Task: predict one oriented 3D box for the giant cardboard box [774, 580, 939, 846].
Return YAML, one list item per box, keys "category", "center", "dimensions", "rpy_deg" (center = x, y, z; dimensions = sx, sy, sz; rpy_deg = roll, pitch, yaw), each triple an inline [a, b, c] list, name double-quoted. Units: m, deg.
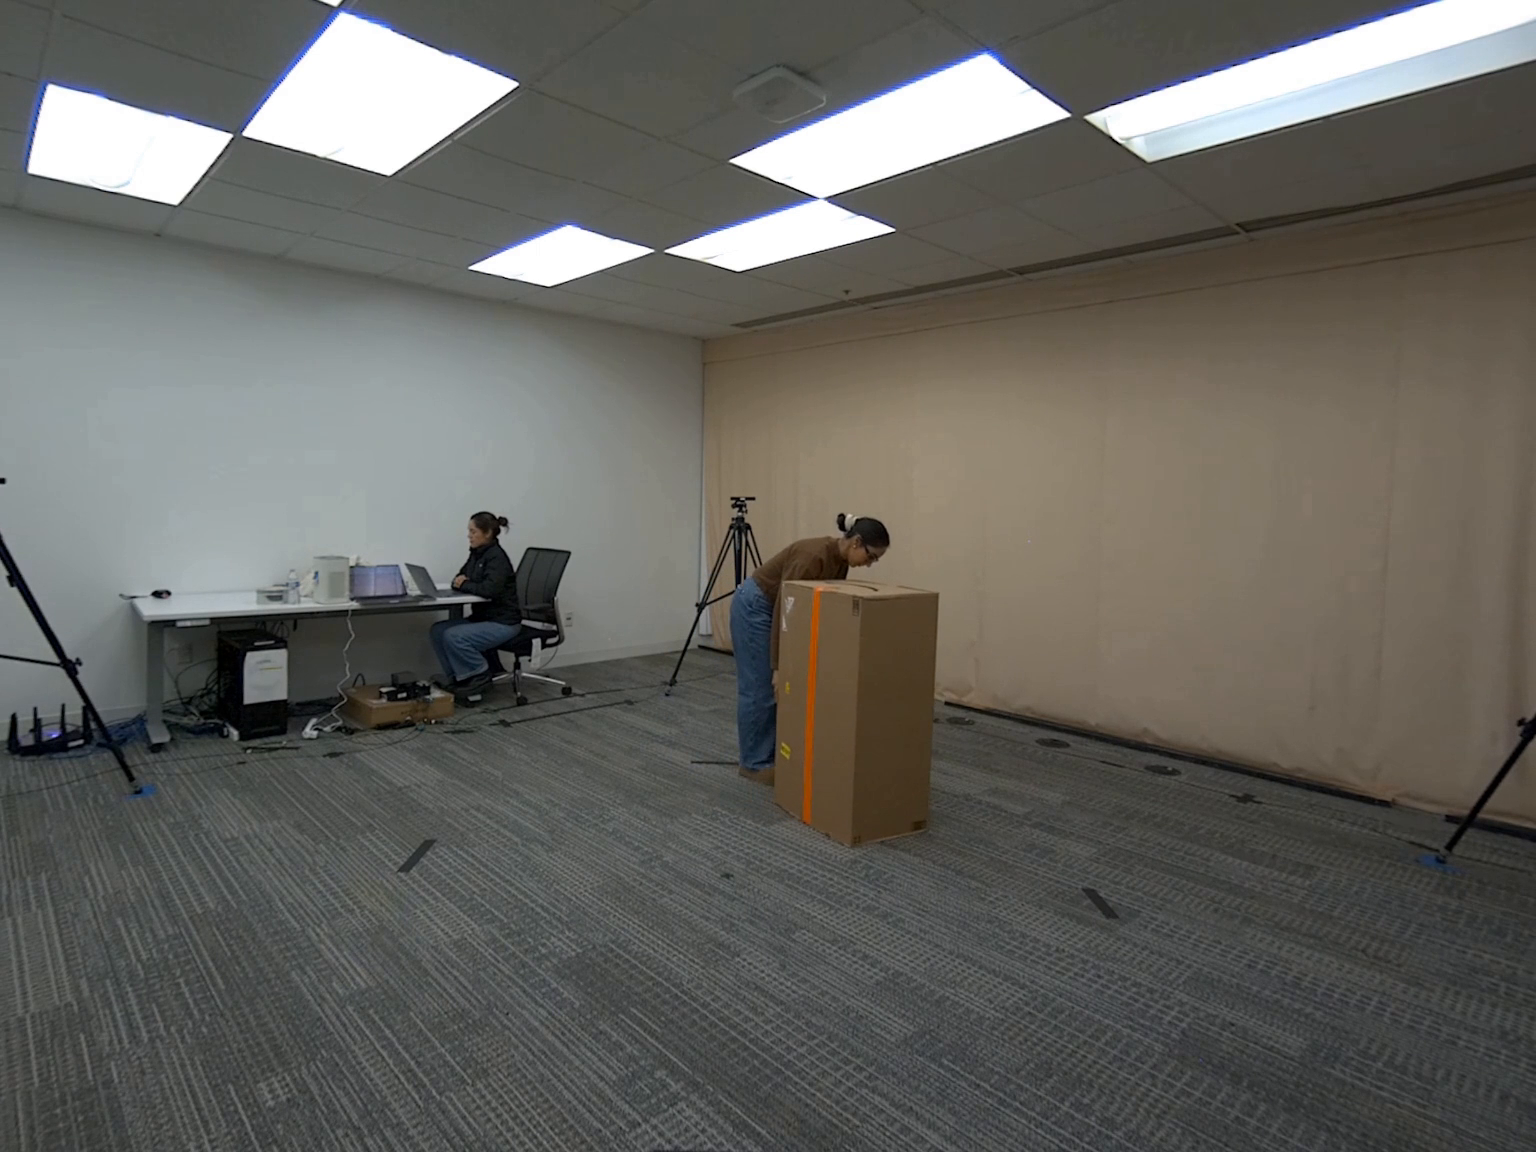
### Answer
- category: "giant cardboard box"
  center: [0.365, 0.558, 3.699]
  dimensions: [0.417, 1.023, 0.591]
  rpy_deg: [0, 5, -32]
